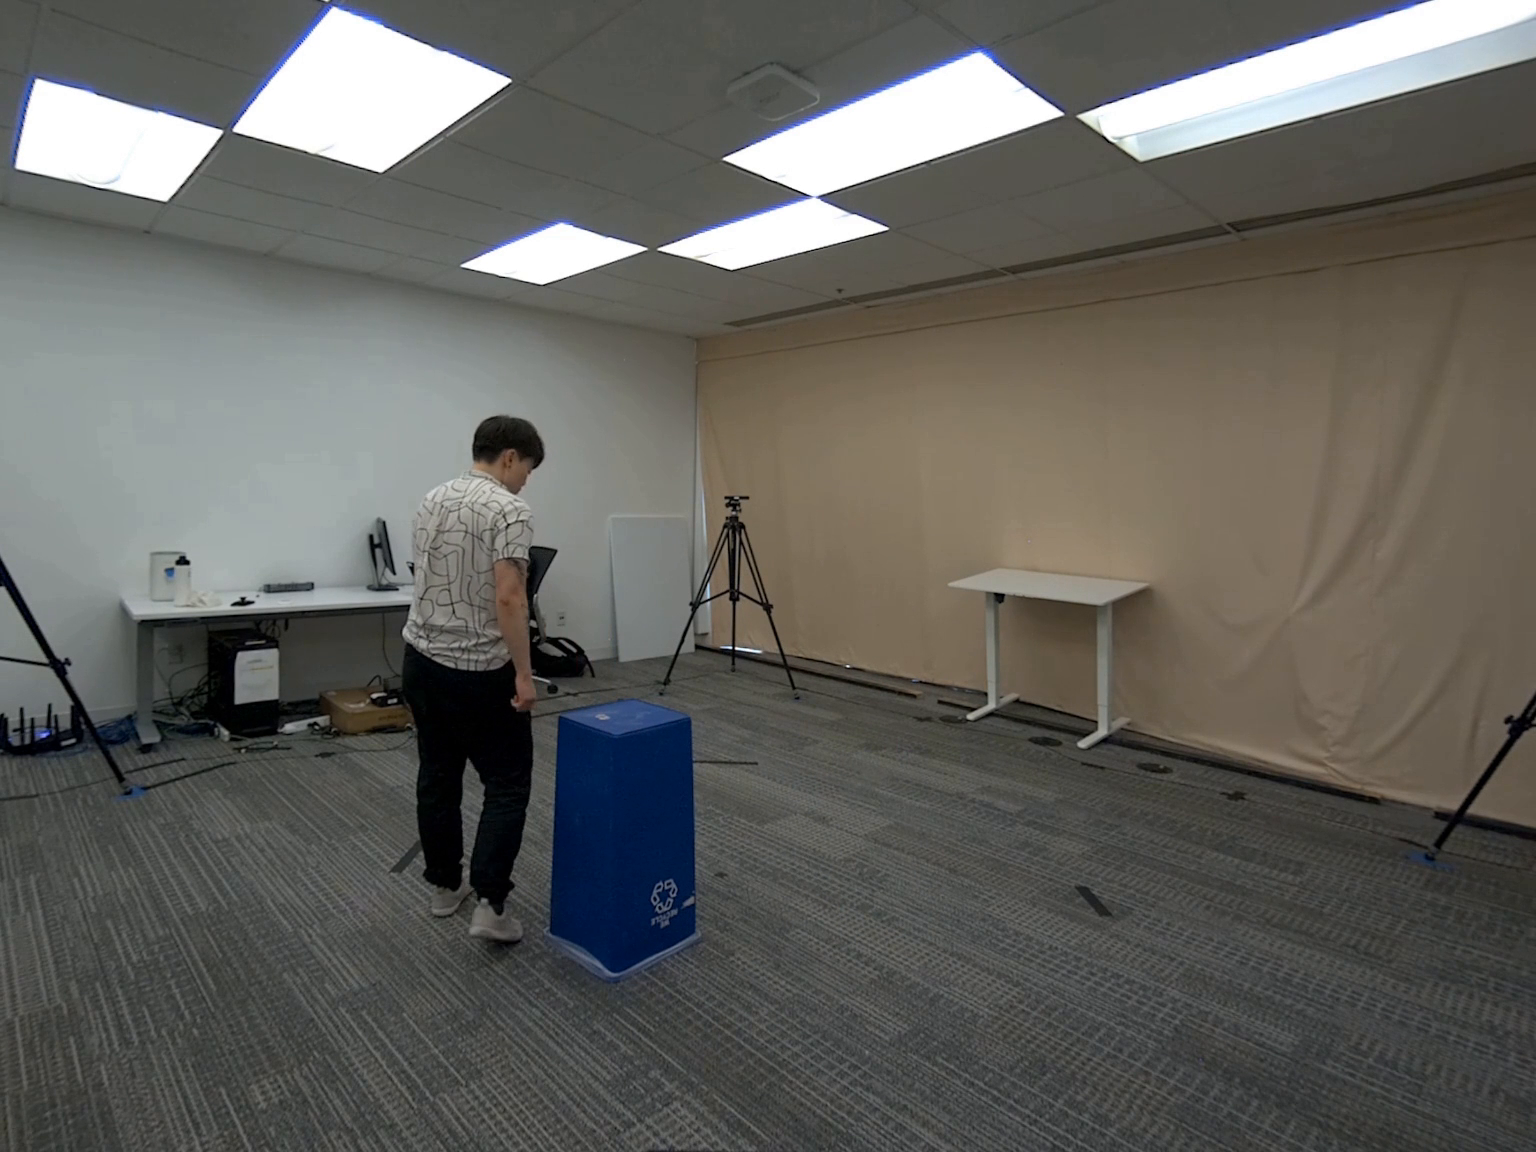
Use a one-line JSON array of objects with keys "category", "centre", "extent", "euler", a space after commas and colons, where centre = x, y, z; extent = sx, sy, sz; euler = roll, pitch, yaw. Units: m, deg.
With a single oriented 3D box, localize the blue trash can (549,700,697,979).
[{"category": "blue trash can", "centre": [-0.463, 0.790, 2.620], "extent": [0.387, 0.712, 0.365], "euler": [4, 5, 43]}]
